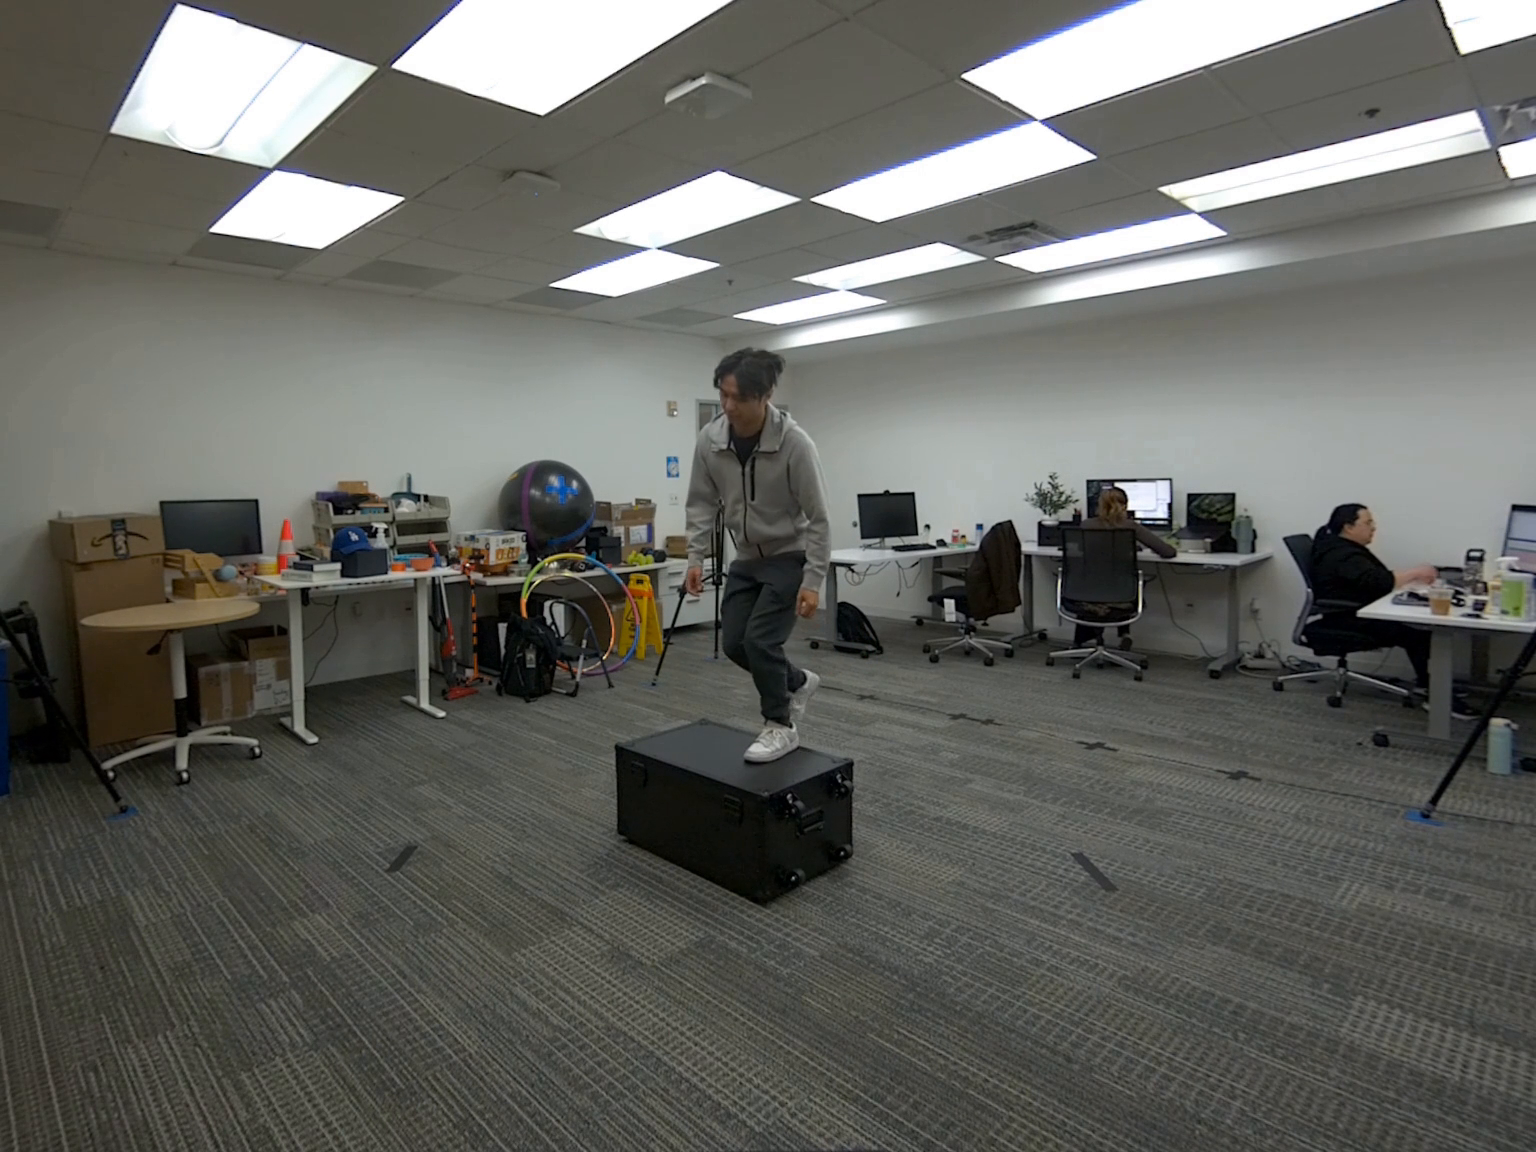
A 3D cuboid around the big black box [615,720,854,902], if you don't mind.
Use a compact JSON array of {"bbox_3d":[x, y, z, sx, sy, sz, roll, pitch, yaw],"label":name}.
[{"bbox_3d":[-0.117,0.847,3.186,0.888,0.395,0.507,4,7,43],"label":"big black box"}]
